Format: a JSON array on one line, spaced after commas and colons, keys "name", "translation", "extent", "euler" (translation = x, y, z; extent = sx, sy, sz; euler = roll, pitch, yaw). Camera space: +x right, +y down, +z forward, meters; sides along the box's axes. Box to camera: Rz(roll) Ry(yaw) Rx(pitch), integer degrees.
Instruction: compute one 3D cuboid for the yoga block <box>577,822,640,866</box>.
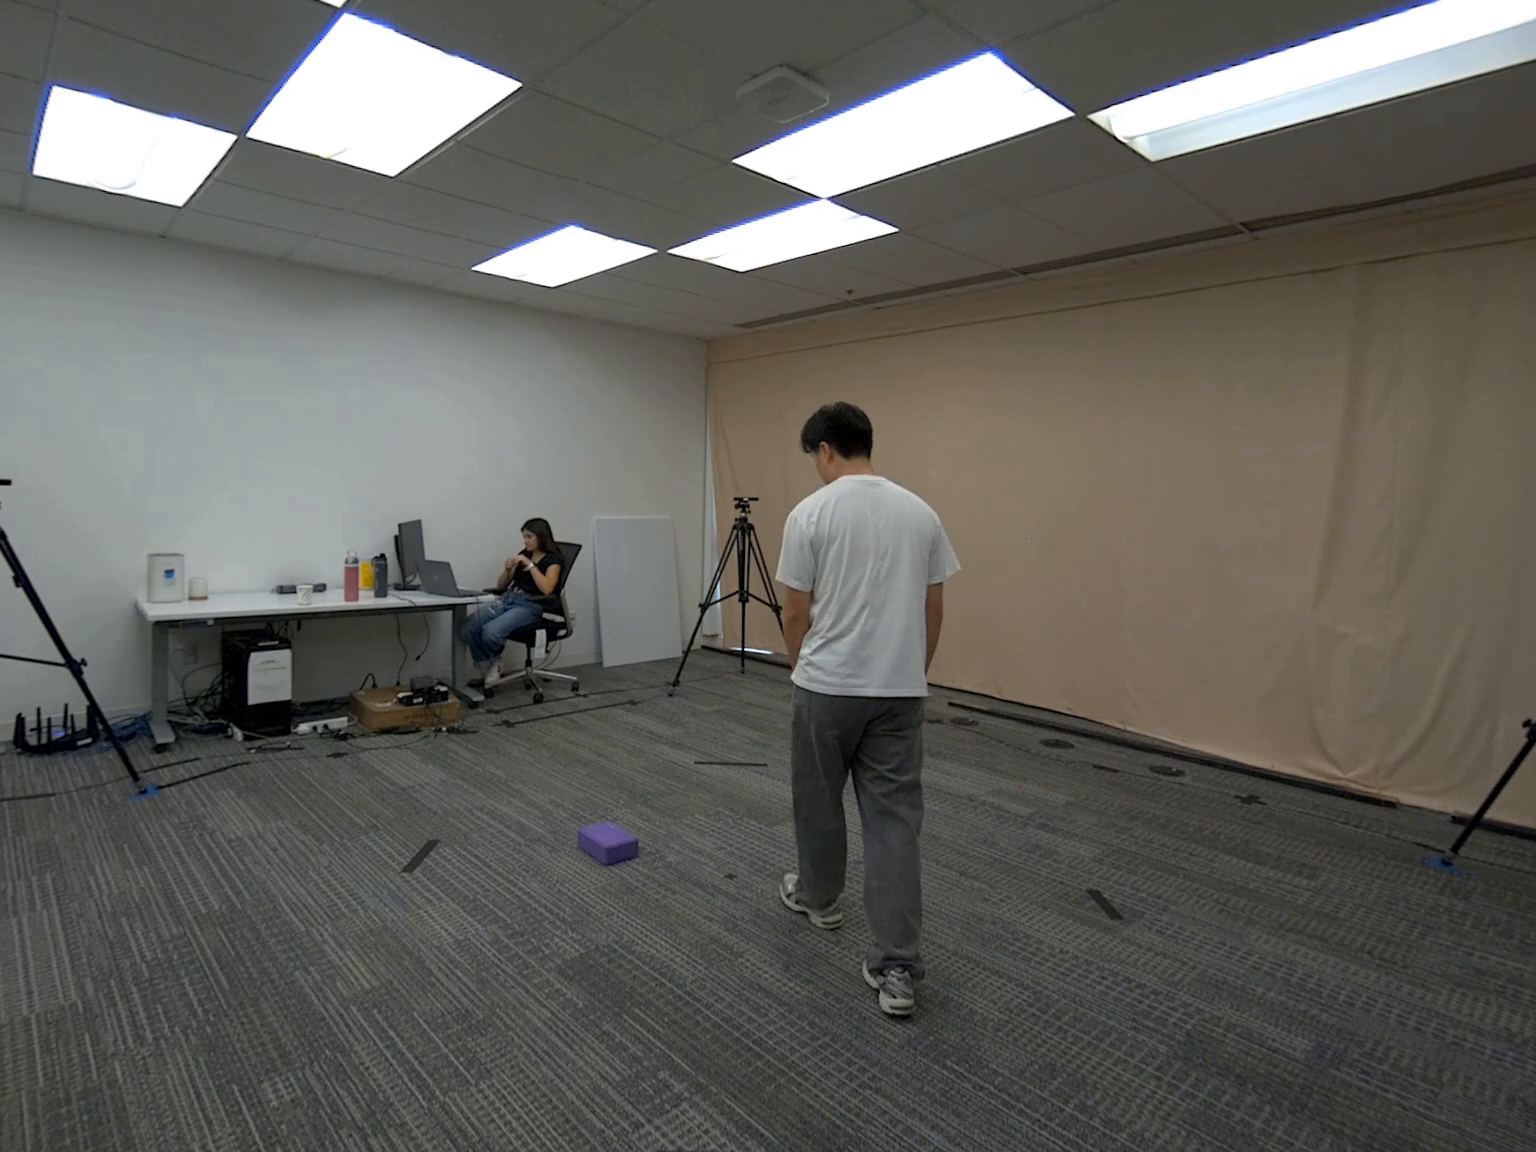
[{"name": "yoga block", "translation": [-0.636, 1.045, 3.285], "extent": [0.145, 0.076, 0.235], "euler": [-3, 6, -41]}]
